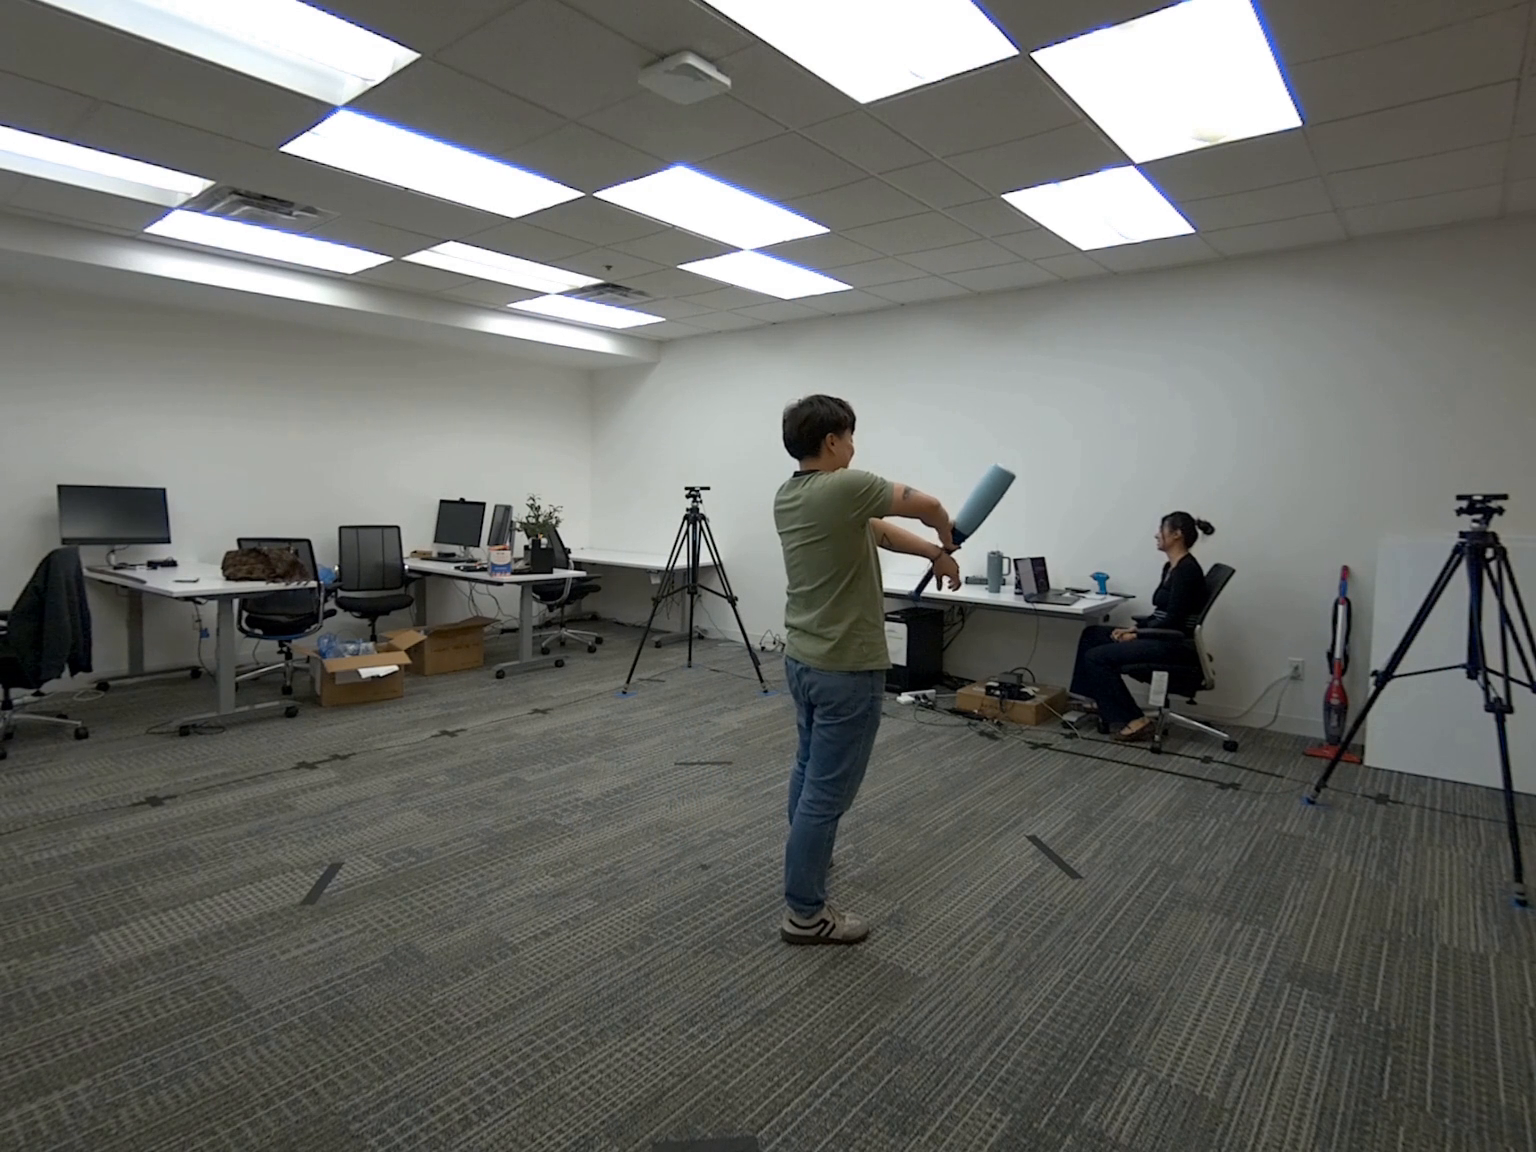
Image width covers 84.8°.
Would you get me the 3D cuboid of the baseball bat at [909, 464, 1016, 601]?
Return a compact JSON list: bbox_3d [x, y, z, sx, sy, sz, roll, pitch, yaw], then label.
[{"bbox_3d":[0.630,-0.136,2.831,0.087,0.540,0.091,28,19,-13],"label":"baseball bat"}]
